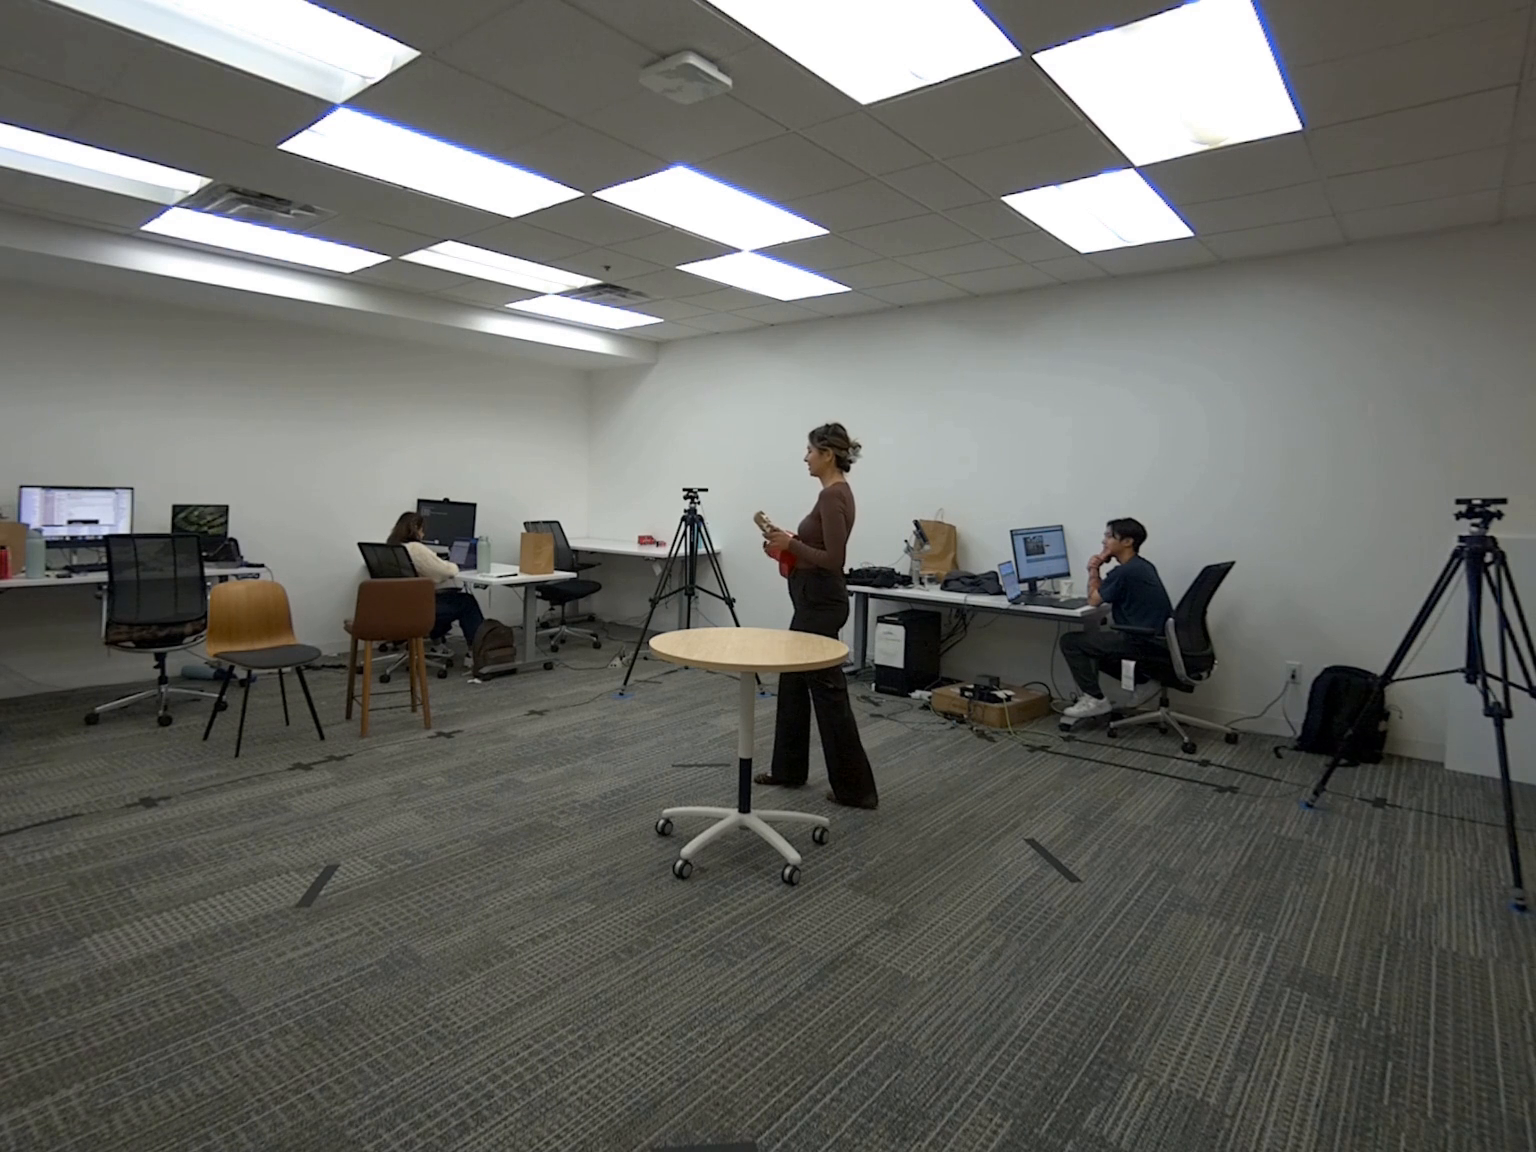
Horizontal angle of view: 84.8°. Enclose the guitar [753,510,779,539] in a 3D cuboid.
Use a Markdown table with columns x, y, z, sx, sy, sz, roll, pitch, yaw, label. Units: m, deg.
| x | y | z | sx | sy | sz | roll | pitch | yaw | label |
| --- | --- | --- | --- | --- | --- | --- | --- | --- | --- |
| 0.033 | -0.135 | 3.869 | 0.073 | 0.193 | 0.478 | 28 | -4 | 35 | guitar |
